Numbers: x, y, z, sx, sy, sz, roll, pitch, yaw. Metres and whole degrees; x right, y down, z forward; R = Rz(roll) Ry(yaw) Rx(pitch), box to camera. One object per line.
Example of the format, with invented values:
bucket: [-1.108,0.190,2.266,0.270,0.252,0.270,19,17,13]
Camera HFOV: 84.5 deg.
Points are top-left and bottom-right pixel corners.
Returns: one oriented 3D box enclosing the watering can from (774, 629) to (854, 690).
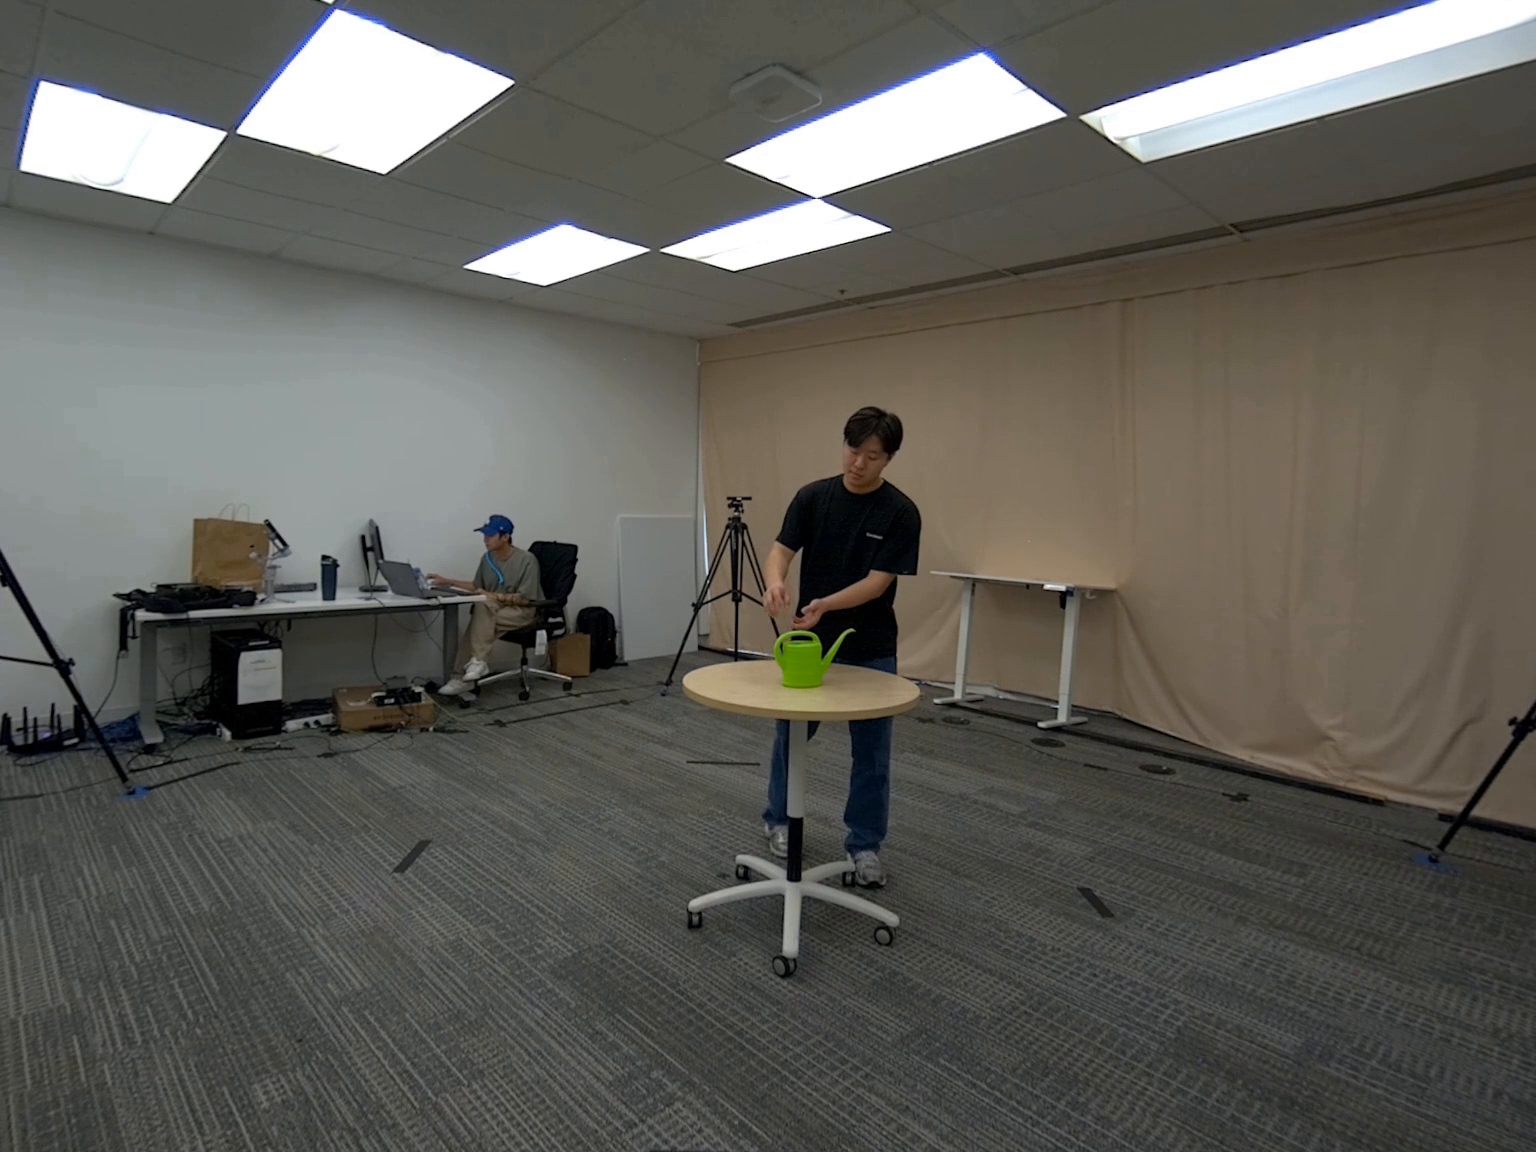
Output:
watering can: [0.145,0.266,2.707,0.277,0.176,0.098,0,3,-5]
